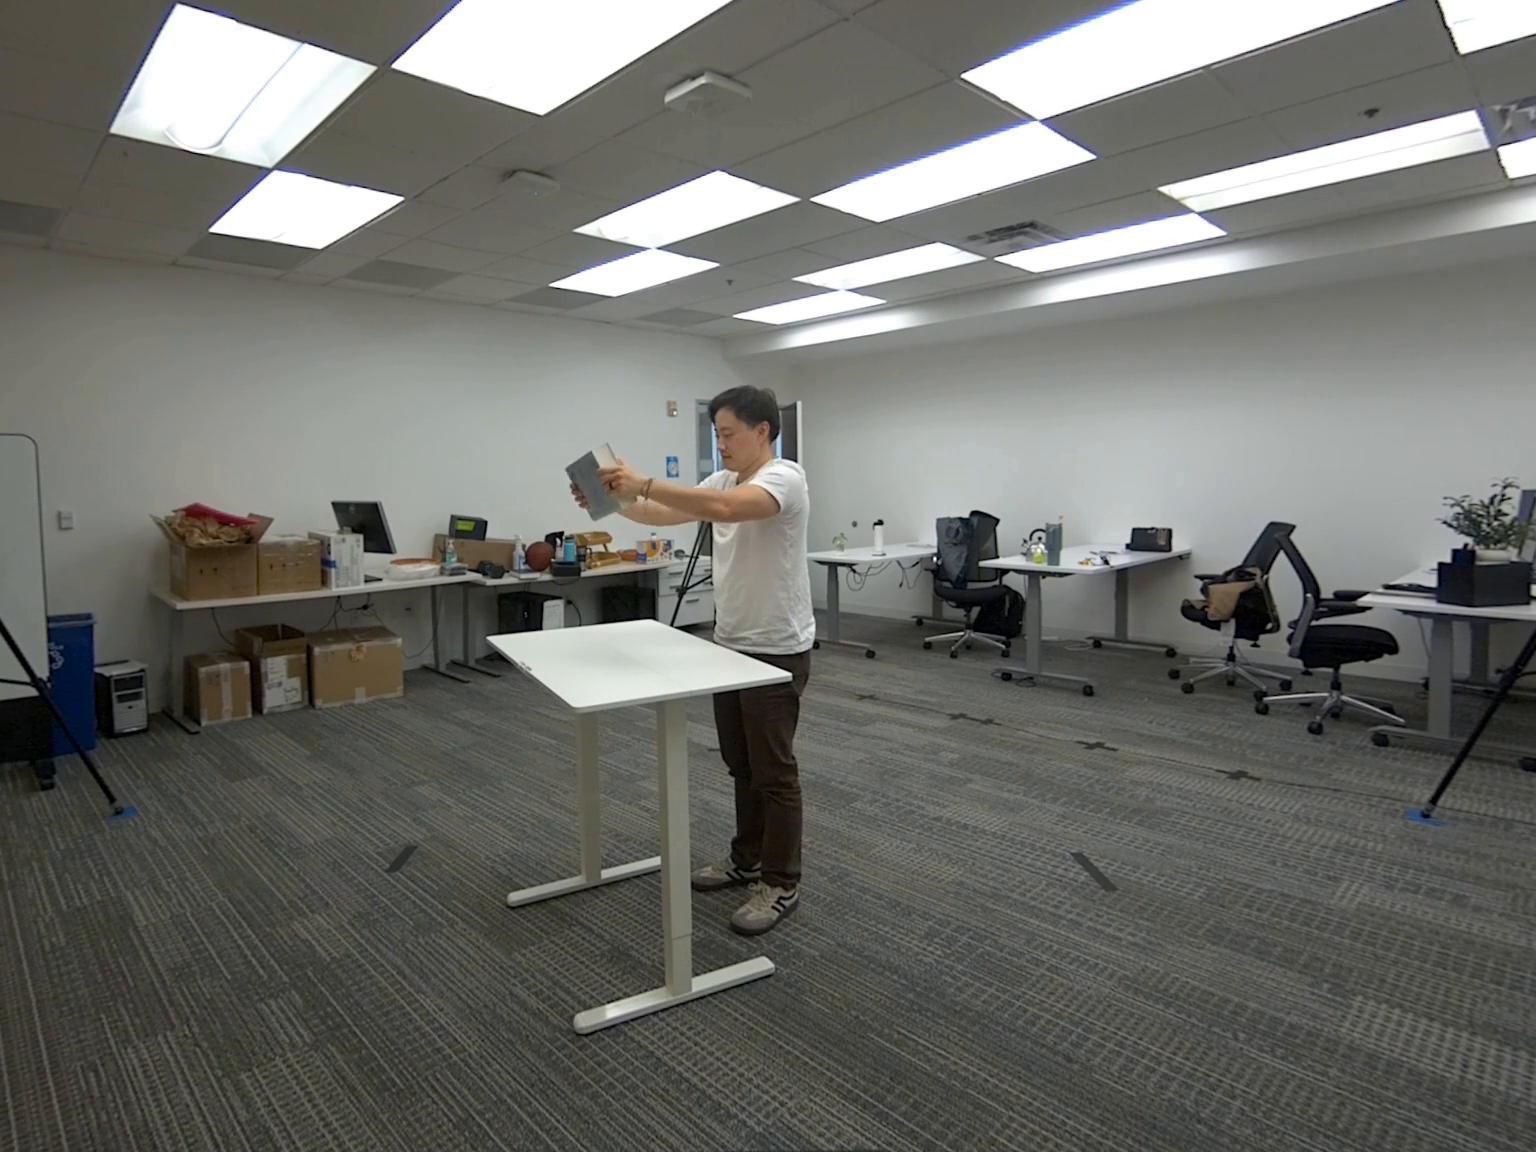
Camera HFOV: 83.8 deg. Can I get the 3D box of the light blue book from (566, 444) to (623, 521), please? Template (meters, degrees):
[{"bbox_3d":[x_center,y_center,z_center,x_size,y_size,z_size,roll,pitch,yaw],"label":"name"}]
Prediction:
[{"bbox_3d":[-0.489,-0.276,2.517,0.058,0.190,0.265,-31,8,-26],"label":"light blue book"}]
